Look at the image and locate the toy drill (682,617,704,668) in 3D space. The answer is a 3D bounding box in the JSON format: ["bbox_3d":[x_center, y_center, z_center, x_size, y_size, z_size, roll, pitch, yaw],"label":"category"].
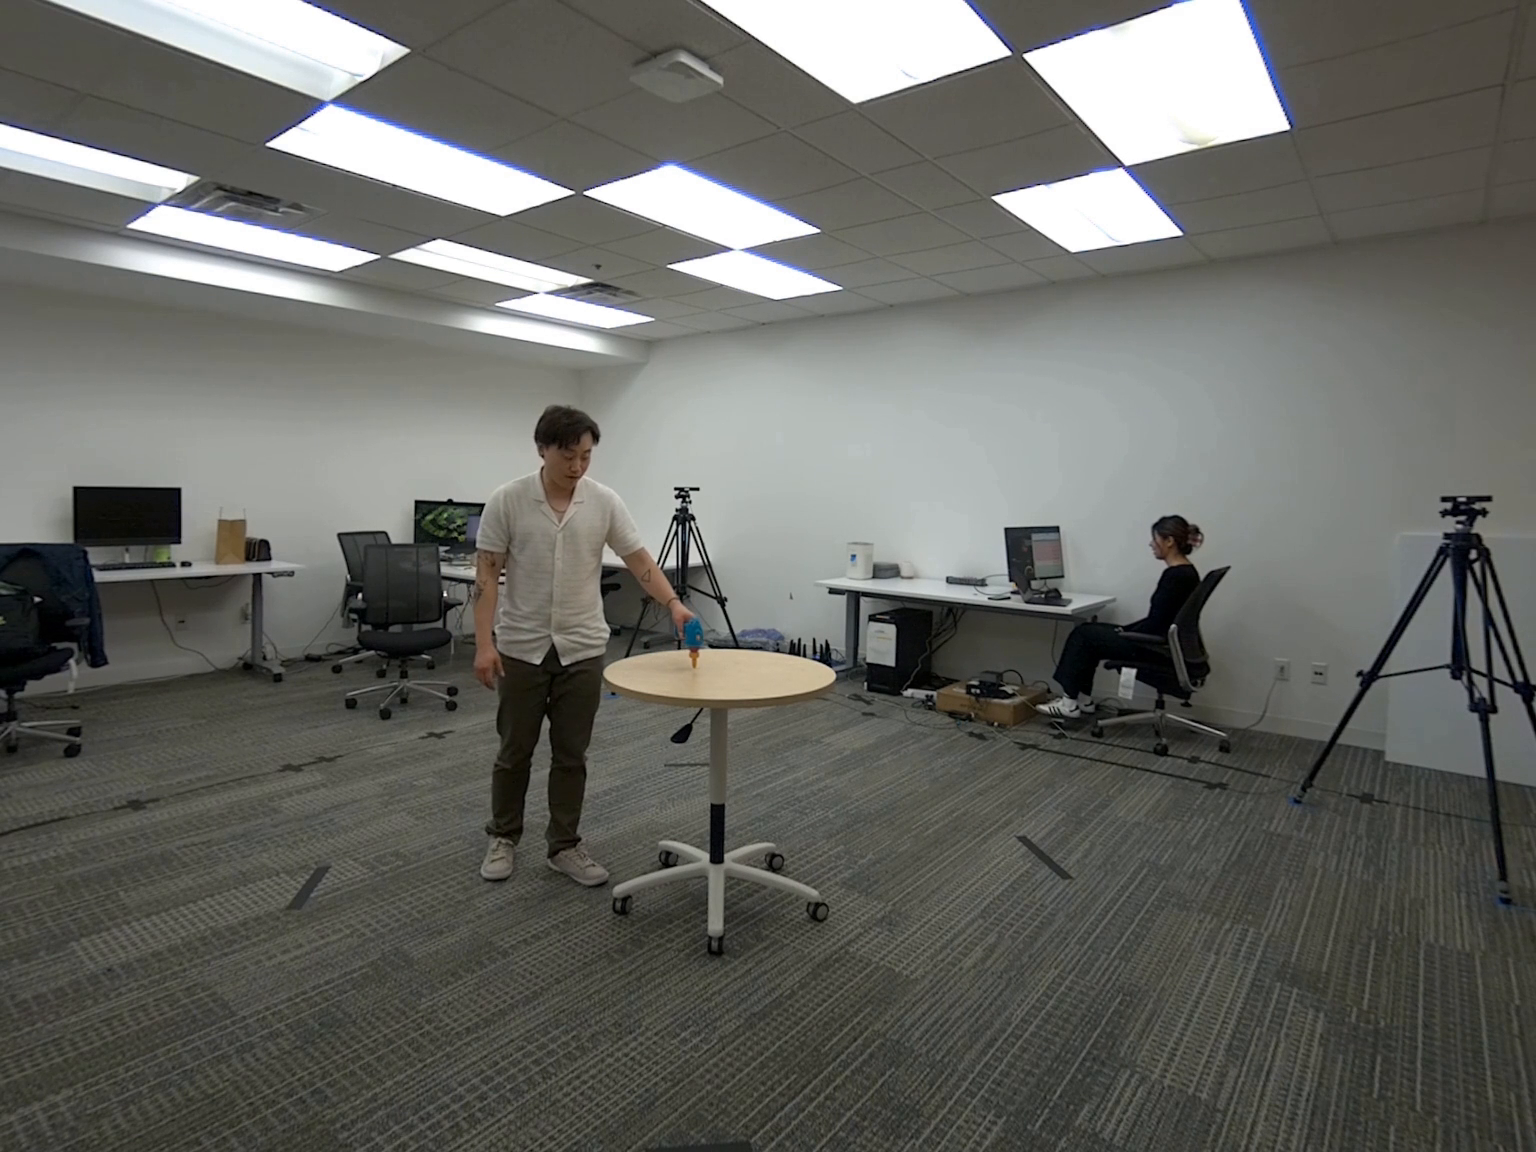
[{"bbox_3d":[-0.274,0.222,2.863,0.060,0.170,0.149,-3,1,-25],"label":"toy drill"}]
